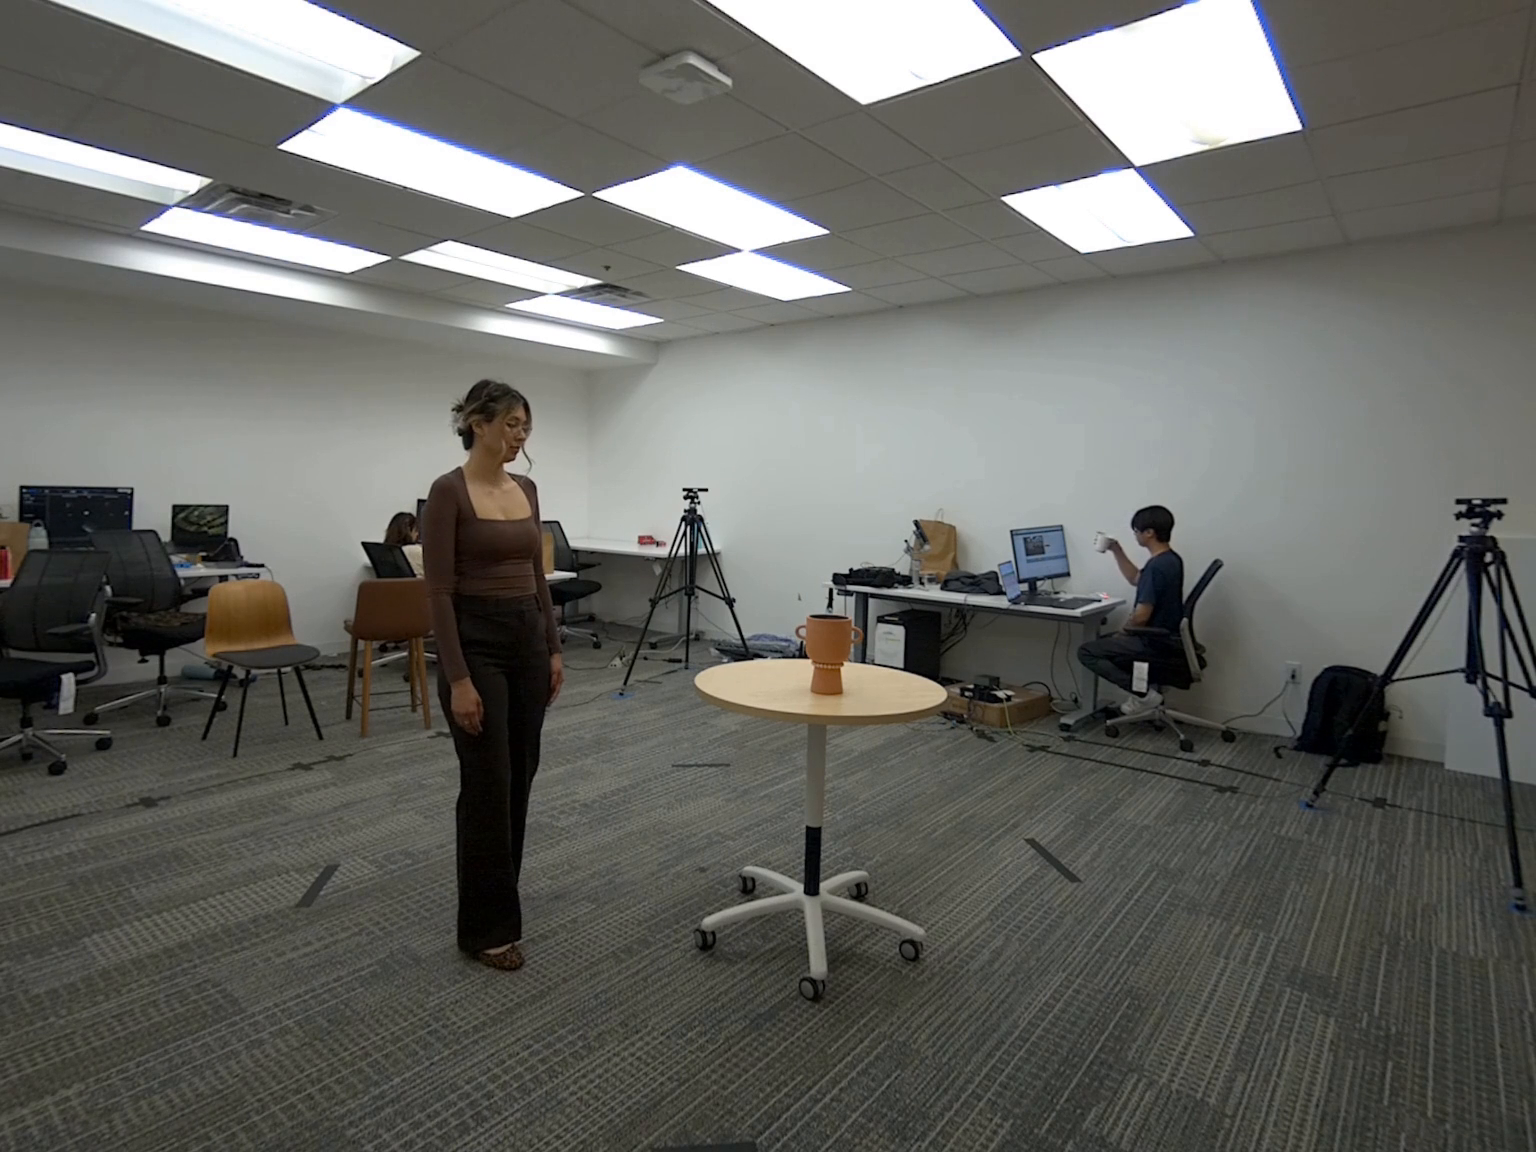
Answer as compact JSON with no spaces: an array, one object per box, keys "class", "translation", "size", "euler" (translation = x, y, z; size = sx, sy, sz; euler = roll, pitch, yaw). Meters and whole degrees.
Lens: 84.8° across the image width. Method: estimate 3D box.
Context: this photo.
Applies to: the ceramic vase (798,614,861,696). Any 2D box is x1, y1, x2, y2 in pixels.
[{"class":"ceramic vase","translation":[0.173,0.232,2.504],"size":[0.130,0.219,0.164],"euler":[-2,5,-44]}]
